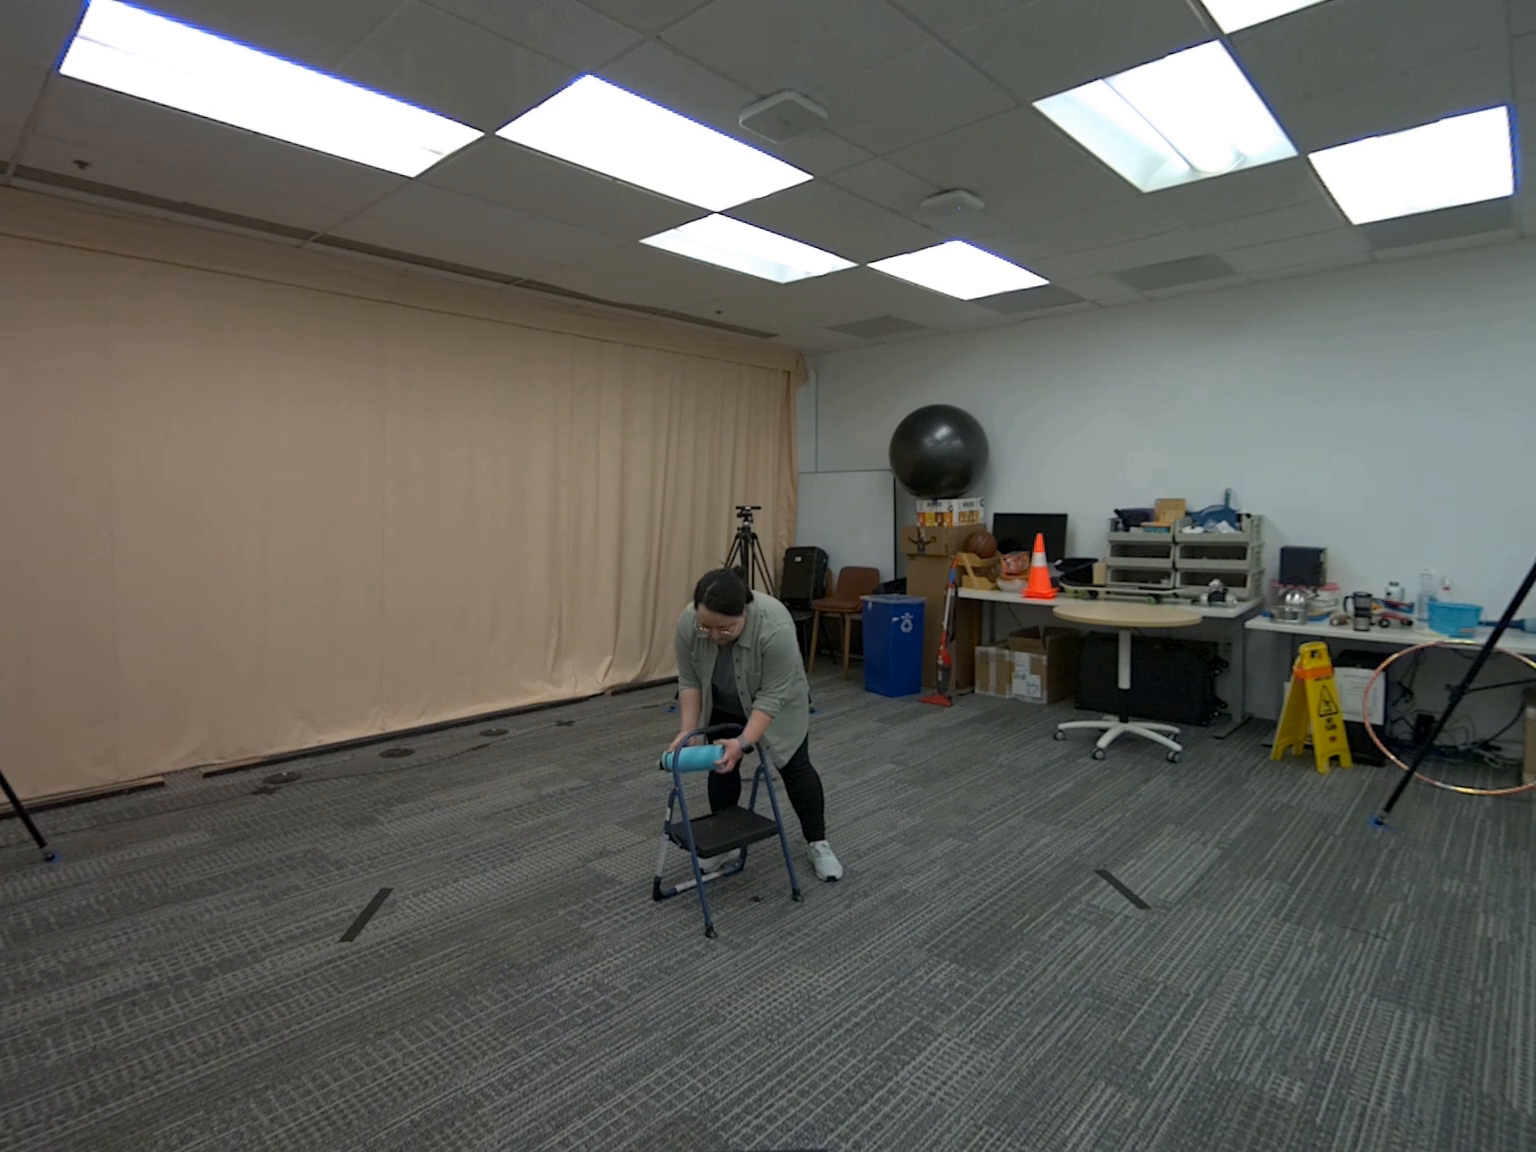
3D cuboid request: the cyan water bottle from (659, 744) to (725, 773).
[{"bbox_3d":[-0.276,0.671,3.059,0.289,0.092,0.090,-9,0,23],"label":"cyan water bottle"}]
